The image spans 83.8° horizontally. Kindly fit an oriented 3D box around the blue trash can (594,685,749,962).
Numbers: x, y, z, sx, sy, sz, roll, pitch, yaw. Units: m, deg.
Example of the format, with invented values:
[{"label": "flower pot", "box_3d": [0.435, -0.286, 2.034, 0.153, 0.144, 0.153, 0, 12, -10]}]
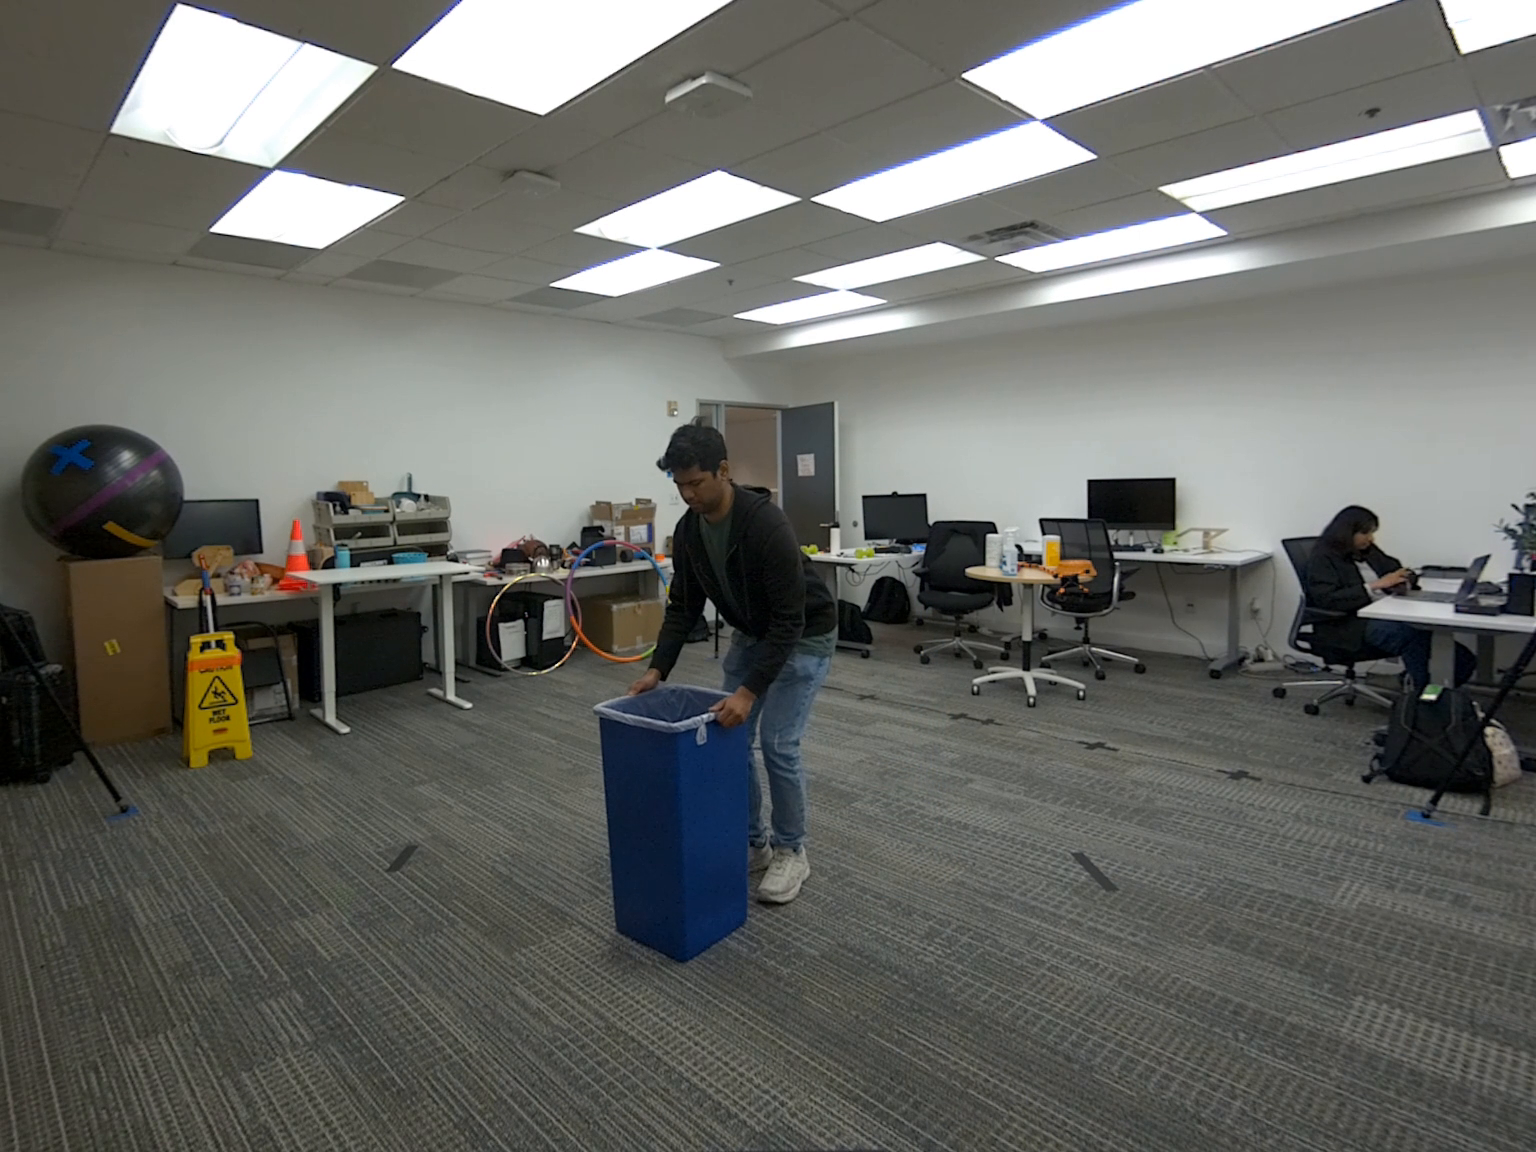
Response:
[{"label": "blue trash can", "box_3d": [-0.287, 0.739, 2.655, 0.385, 0.711, 0.368, 2, 5, 38]}]
